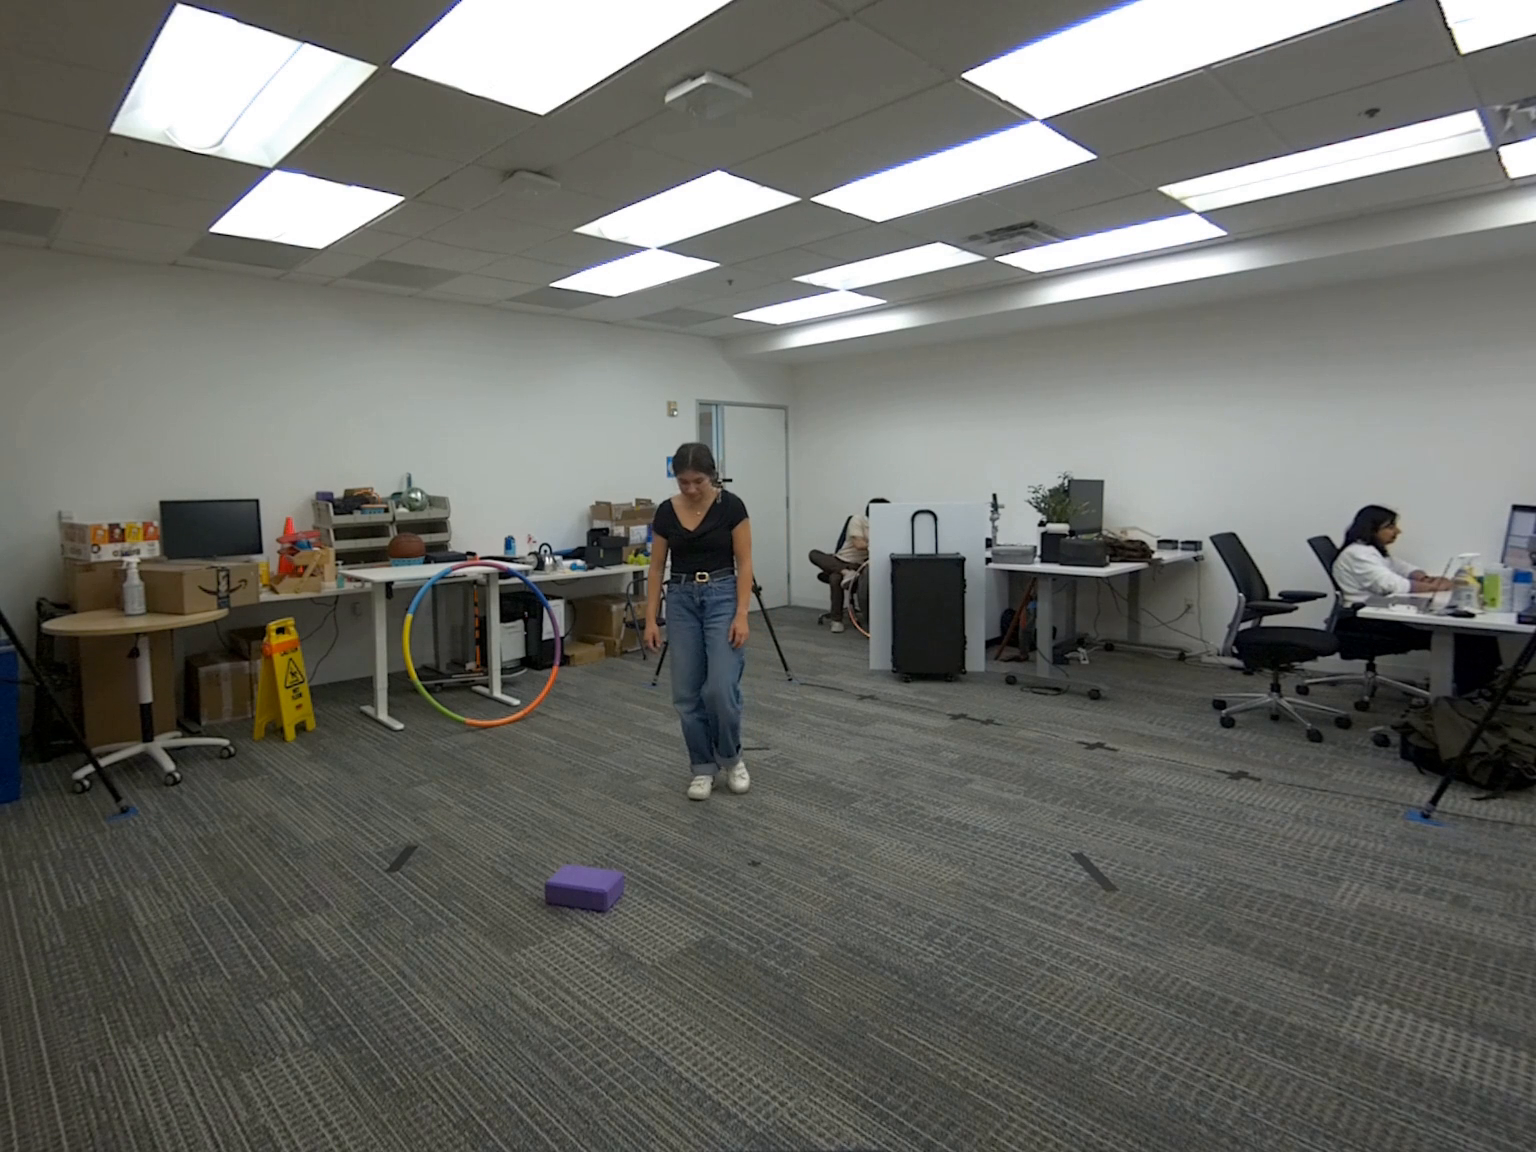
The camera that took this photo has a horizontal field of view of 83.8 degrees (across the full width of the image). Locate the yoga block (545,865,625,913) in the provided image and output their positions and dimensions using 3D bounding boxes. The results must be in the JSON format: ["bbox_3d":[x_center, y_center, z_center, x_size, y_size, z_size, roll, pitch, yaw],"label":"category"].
[{"bbox_3d":[-0.610,1.043,2.869,0.233,0.076,0.147,2,5,17],"label":"yoga block"}]
